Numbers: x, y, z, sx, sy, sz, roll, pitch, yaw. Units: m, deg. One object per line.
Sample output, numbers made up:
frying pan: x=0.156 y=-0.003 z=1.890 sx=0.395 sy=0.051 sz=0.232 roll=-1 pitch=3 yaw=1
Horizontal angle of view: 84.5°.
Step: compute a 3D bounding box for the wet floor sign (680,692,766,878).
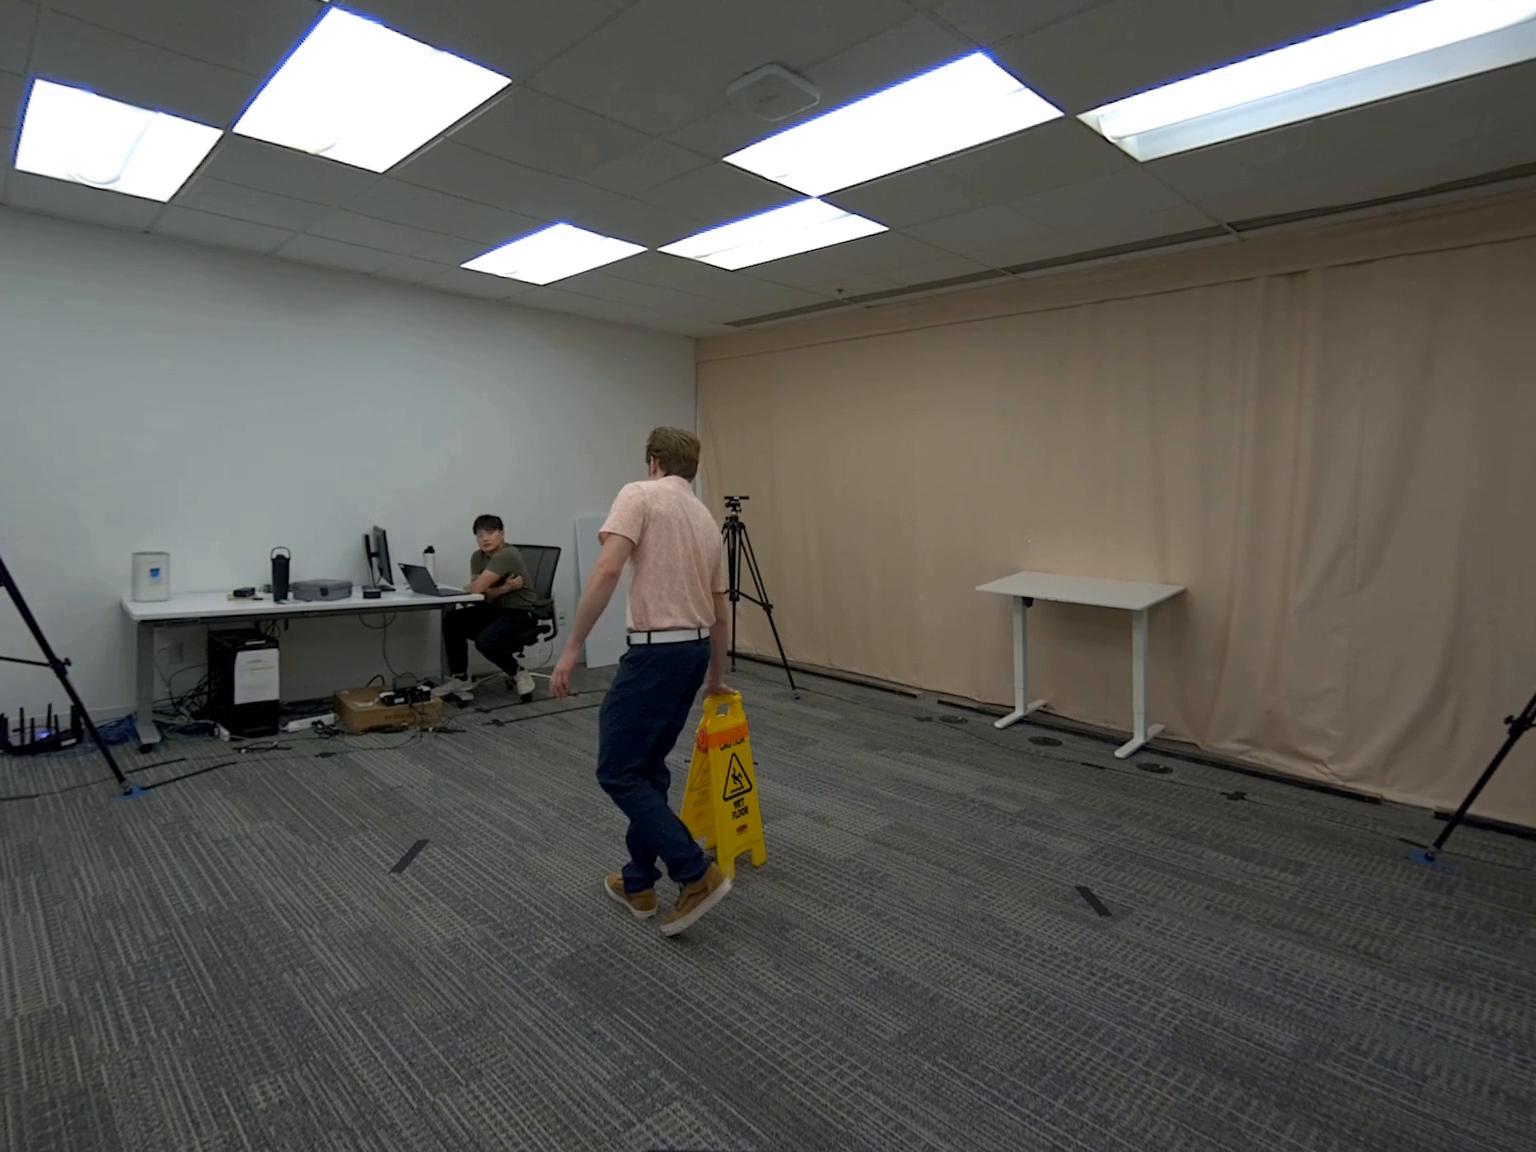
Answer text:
wet floor sign: x=-0.181 y=0.772 z=3.179 sx=0.297 sy=0.644 sz=0.276 roll=5 pitch=5 yaw=36
